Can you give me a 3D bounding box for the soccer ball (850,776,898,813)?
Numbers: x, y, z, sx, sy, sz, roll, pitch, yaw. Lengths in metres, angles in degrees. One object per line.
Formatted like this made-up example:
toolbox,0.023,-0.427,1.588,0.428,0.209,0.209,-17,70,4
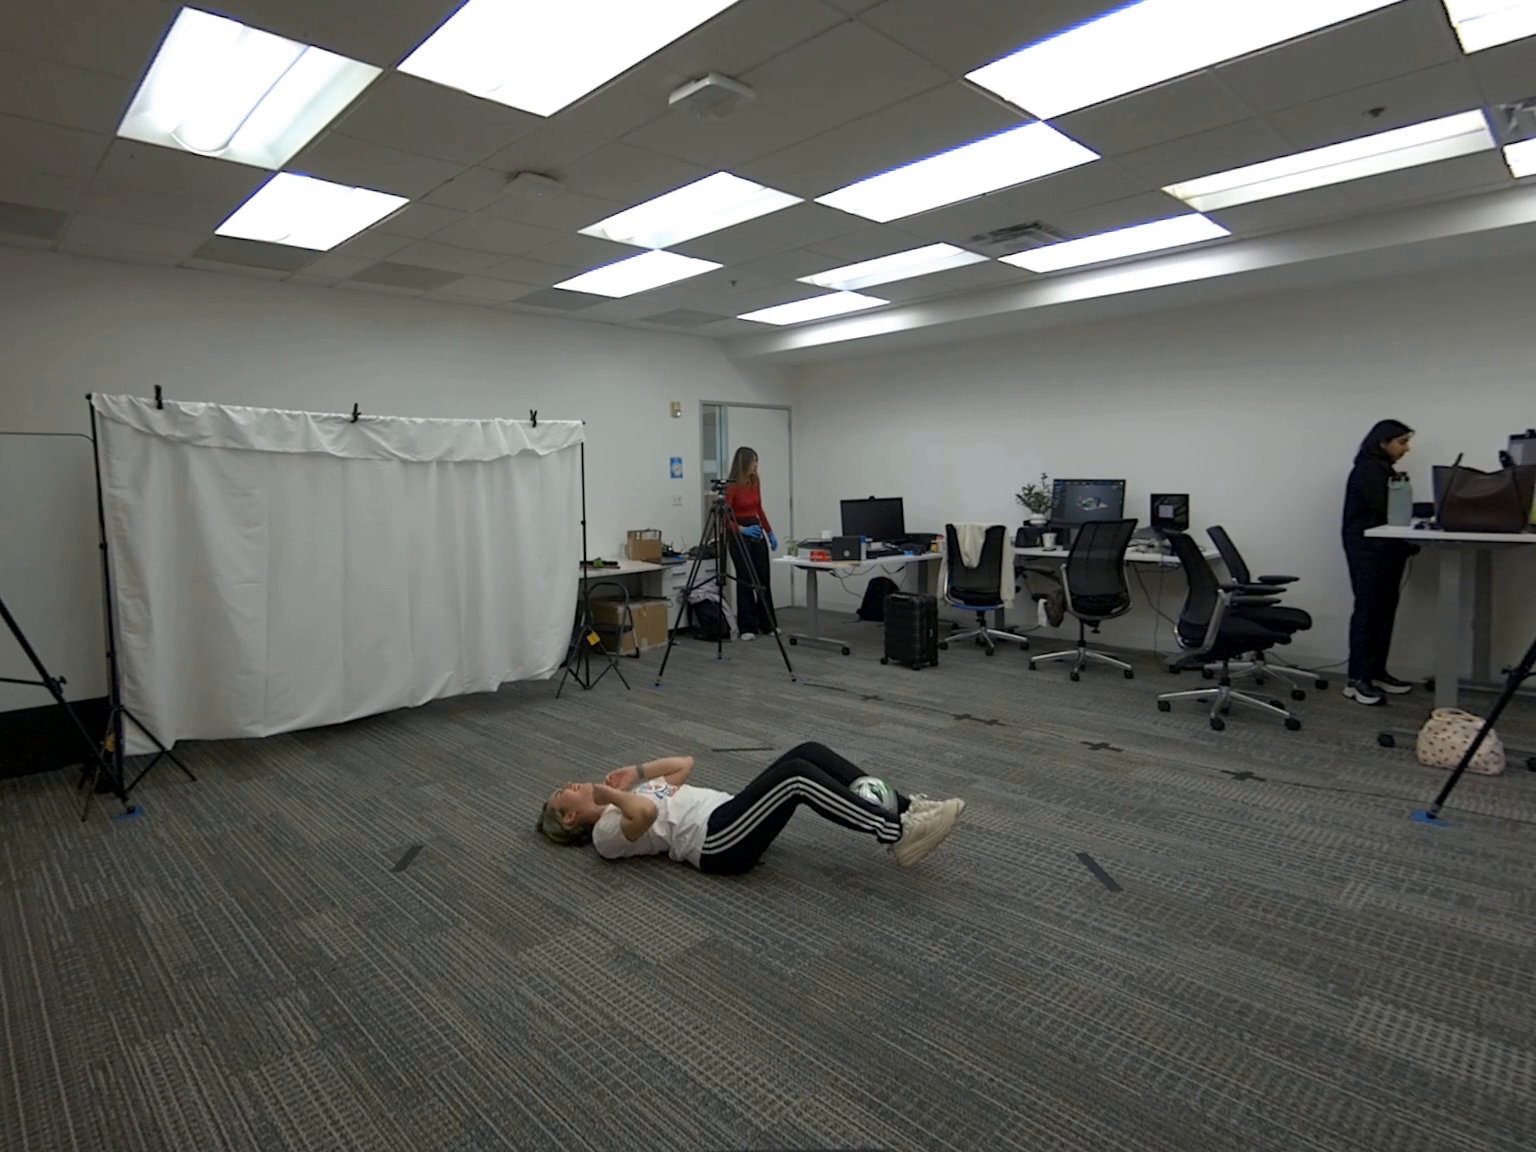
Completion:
soccer ball,0.354,0.798,3.019,0.187,0.187,0.188,-1,5,-2
